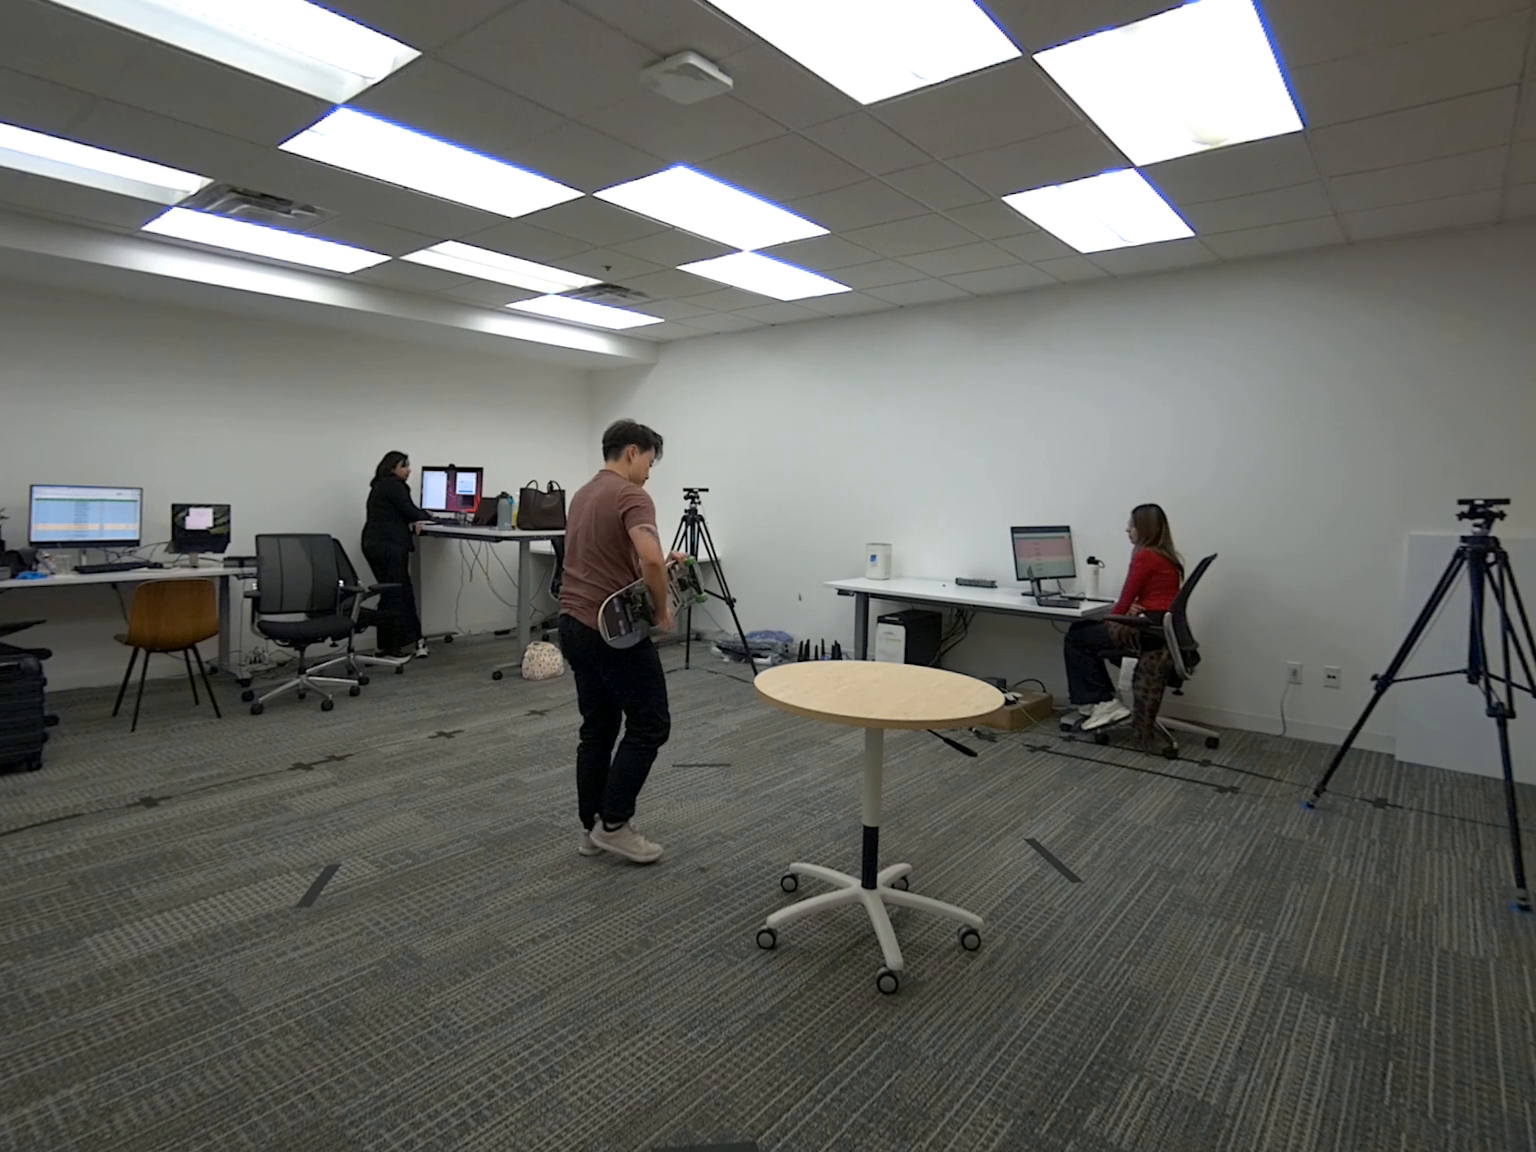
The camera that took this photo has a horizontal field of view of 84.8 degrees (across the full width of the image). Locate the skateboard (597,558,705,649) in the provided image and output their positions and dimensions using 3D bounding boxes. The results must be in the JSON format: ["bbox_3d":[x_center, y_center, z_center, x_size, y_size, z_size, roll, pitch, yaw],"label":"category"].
[{"bbox_3d":[-0.381,0.079,3.211,0.112,0.191,0.779,-13,11,24],"label":"skateboard"}]
